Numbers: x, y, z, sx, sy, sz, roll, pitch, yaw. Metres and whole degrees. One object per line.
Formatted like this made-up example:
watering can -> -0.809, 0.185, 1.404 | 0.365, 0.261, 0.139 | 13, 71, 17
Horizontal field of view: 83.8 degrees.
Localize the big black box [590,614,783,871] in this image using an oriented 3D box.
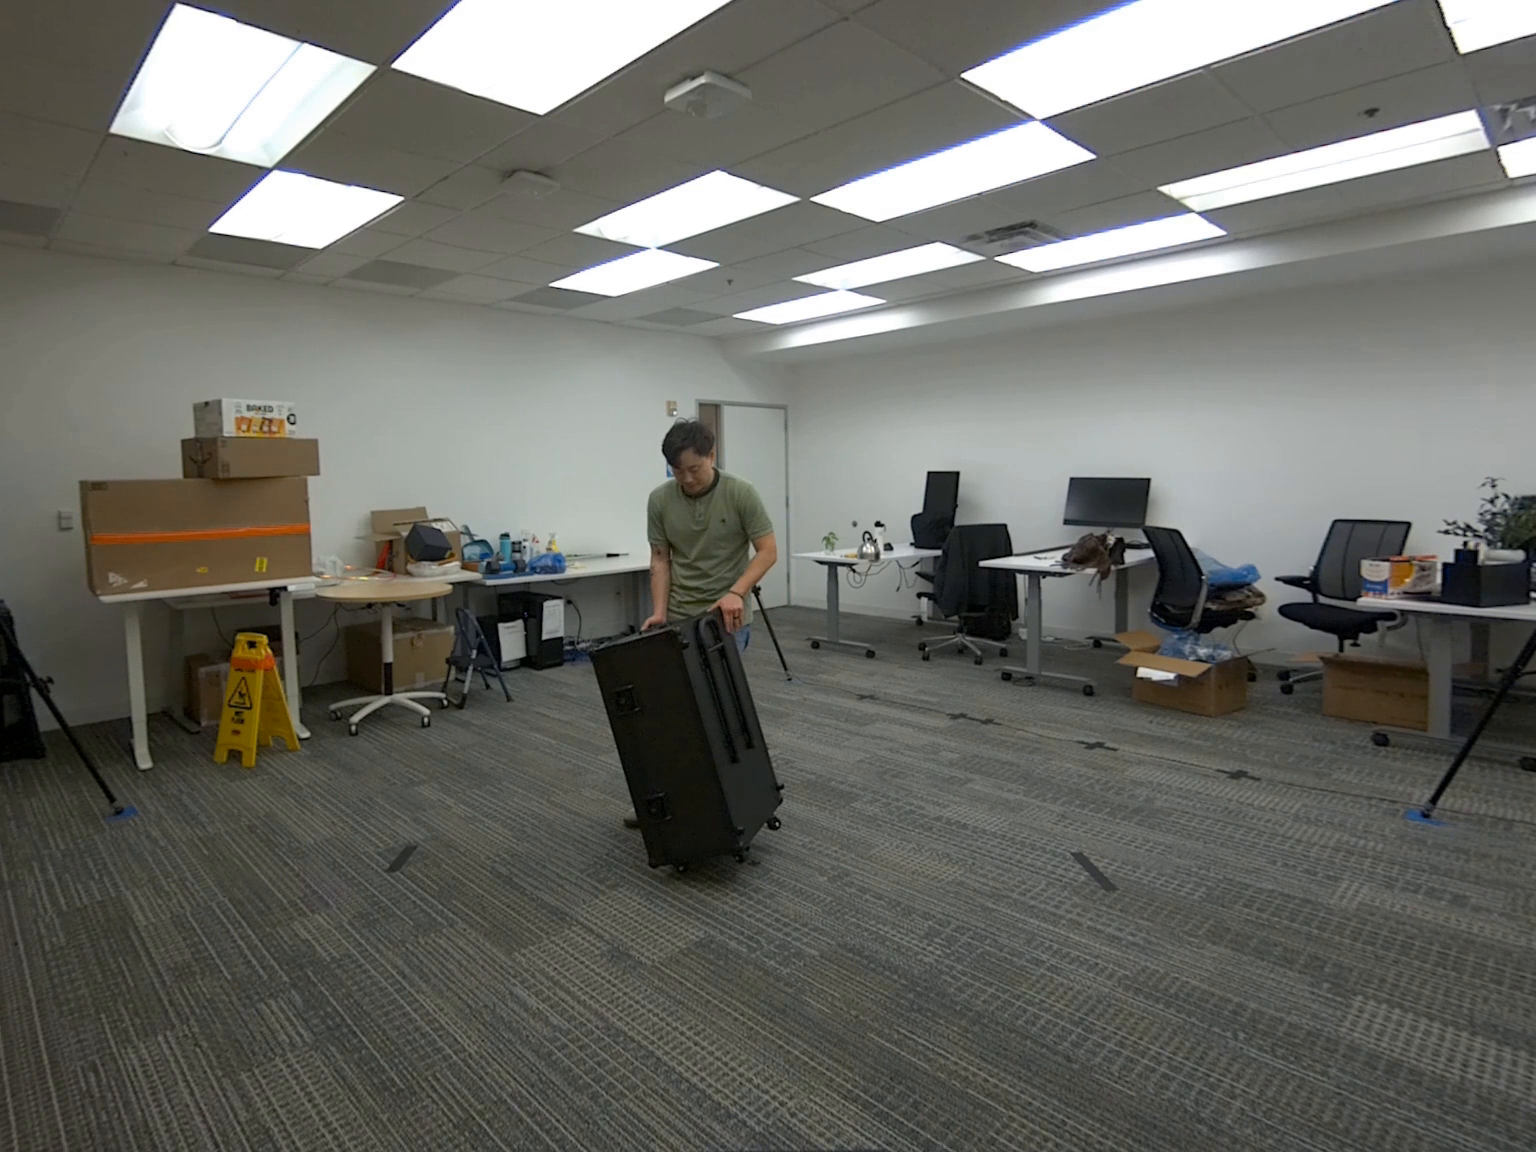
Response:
big black box -> -0.263, 0.604, 3.146 | 0.401, 0.864, 0.513 | -17, -2, 20
